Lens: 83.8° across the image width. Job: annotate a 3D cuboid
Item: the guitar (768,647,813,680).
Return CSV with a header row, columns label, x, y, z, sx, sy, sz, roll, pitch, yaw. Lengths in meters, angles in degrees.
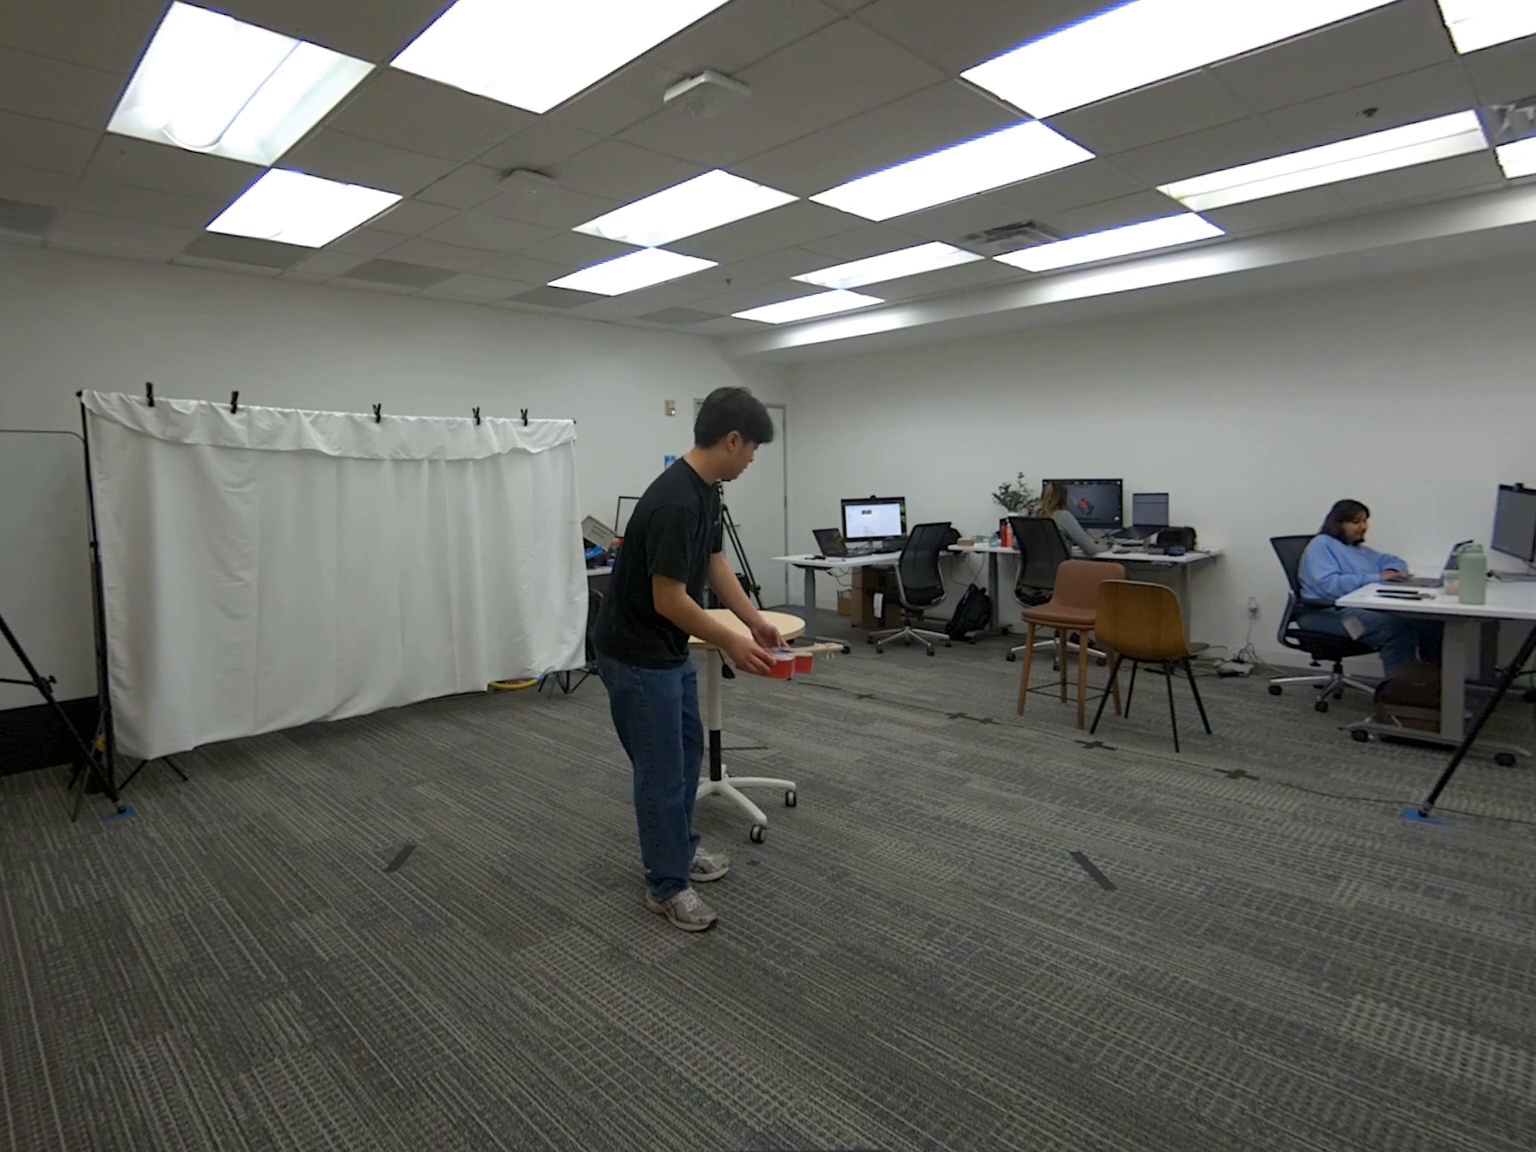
label,x,y,z,sx,sy,sz,roll,pitch,yaw
guitar,0.123,0.276,2.807,0.483,0.070,0.199,0,7,-40
